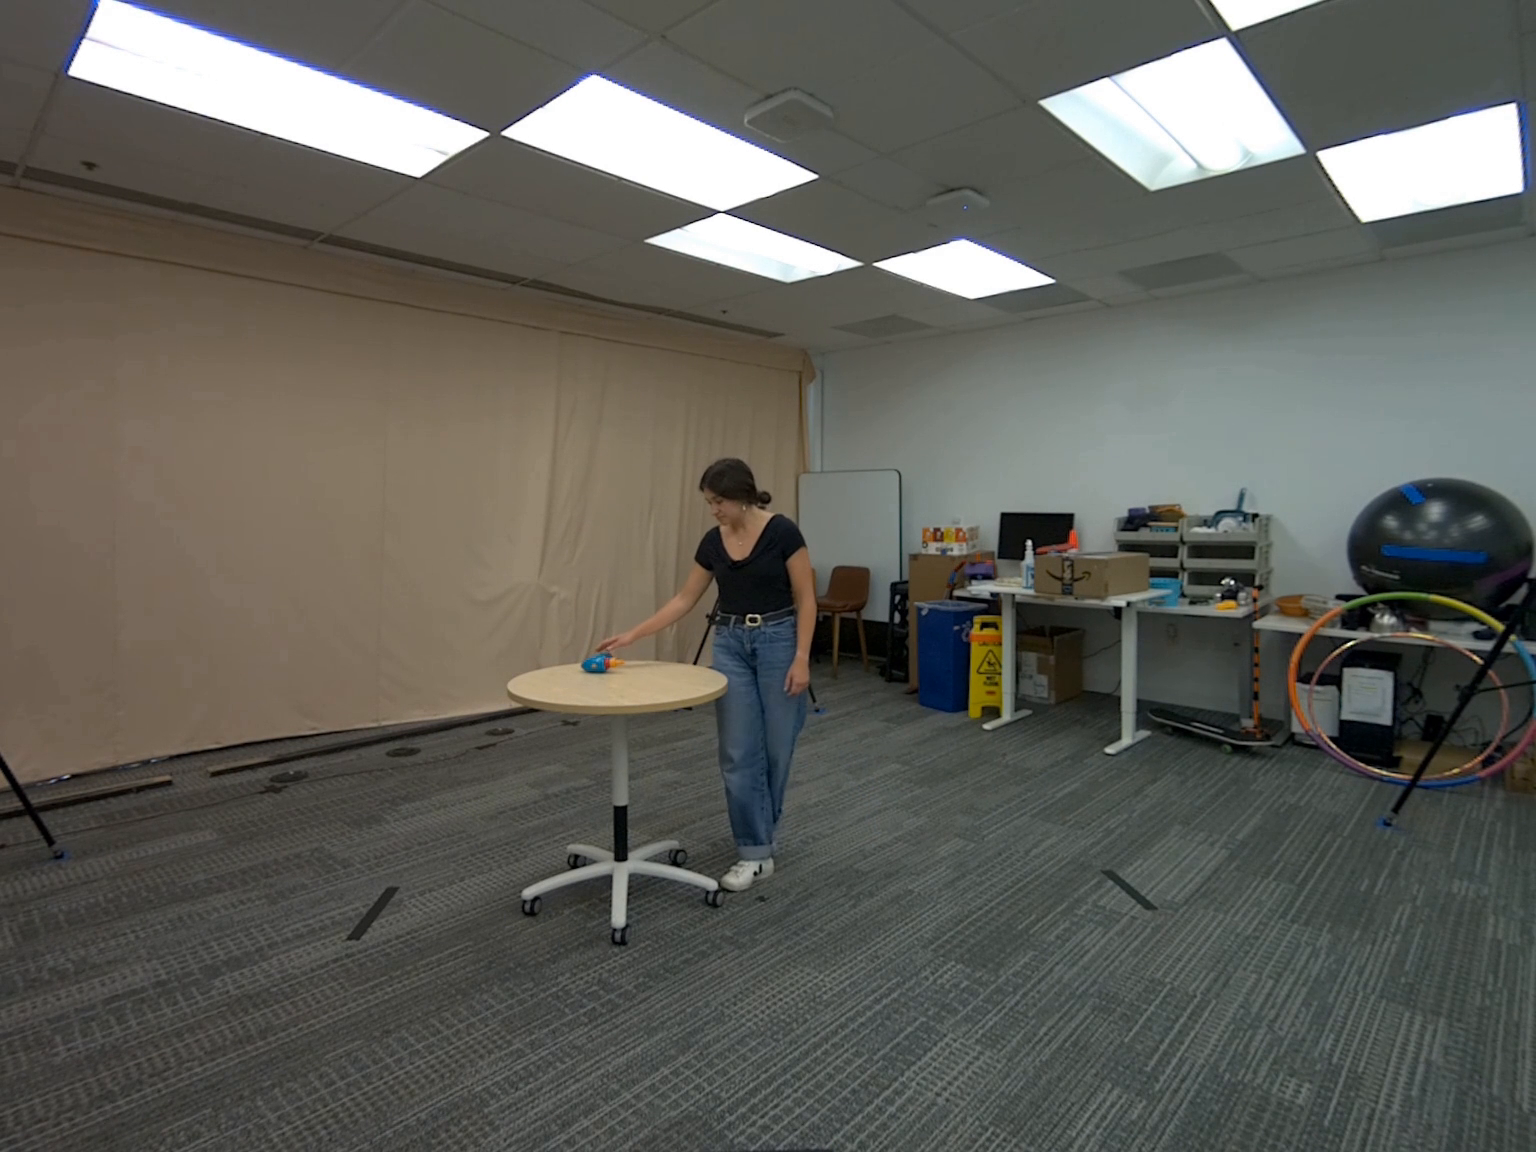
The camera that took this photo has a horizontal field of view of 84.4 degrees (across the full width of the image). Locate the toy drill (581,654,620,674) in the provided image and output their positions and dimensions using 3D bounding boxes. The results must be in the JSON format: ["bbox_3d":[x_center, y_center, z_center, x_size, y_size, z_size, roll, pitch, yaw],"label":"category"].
[{"bbox_3d":[-0.600,0.325,3.140,0.171,0.061,0.145,-9,1,5],"label":"toy drill"}]
